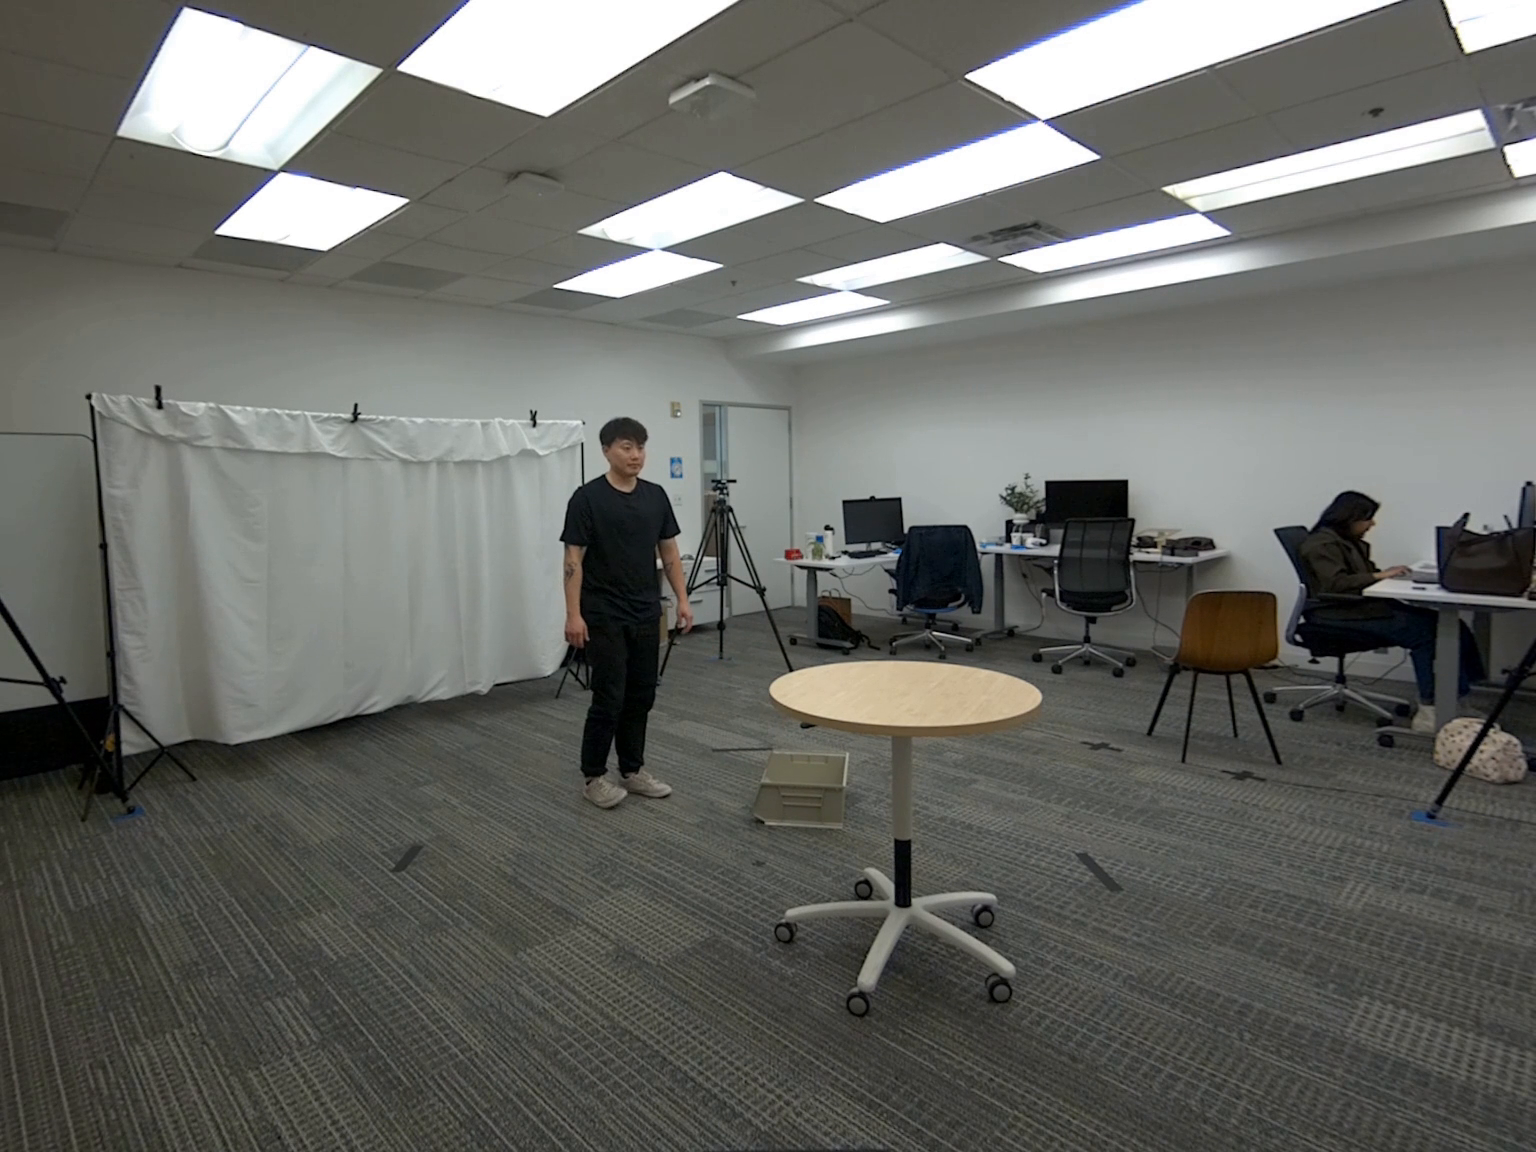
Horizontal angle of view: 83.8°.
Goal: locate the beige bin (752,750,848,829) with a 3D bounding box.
[{"bbox_3d":[0.152,0.901,3.629,0.381,0.188,0.420,0,5,8],"label":"beige bin"}]
